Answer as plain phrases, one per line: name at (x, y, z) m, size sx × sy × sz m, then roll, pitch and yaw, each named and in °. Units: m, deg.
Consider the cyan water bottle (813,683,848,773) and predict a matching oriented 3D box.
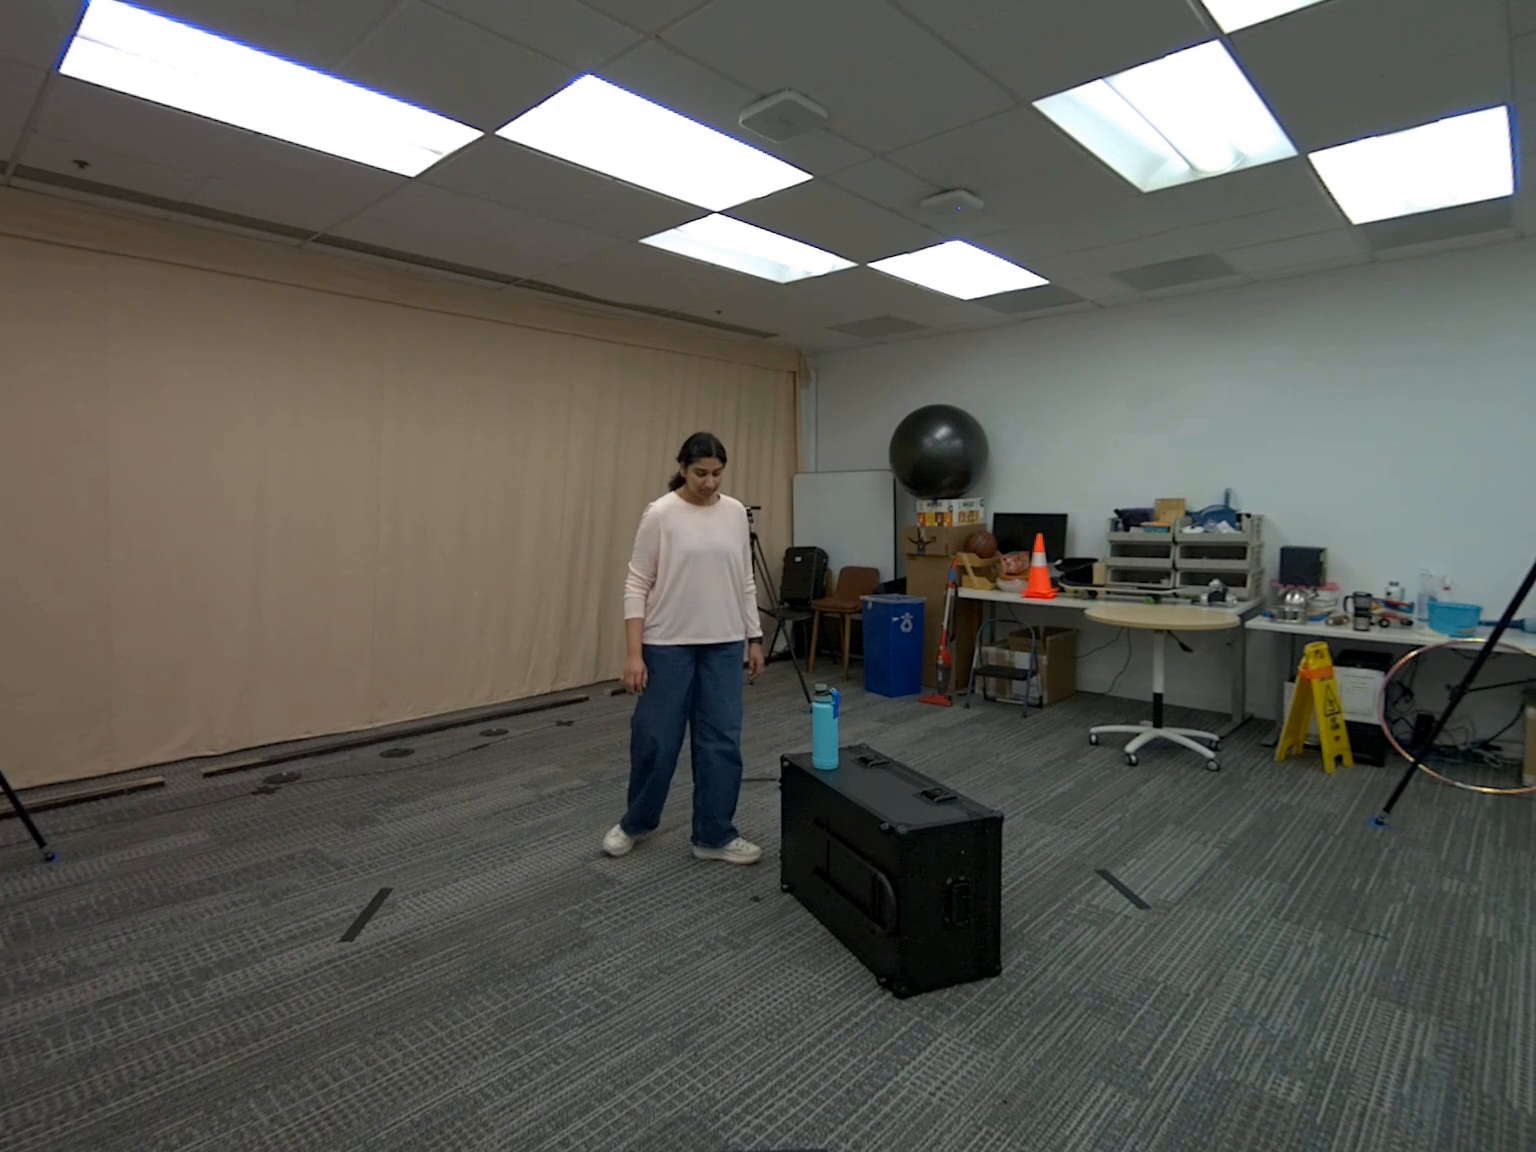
cyan water bottle at (0.214, 0.522, 2.934) m, size 0.092 × 0.283 × 0.092 m, roll 2°, pitch 3°, yaw -2°
